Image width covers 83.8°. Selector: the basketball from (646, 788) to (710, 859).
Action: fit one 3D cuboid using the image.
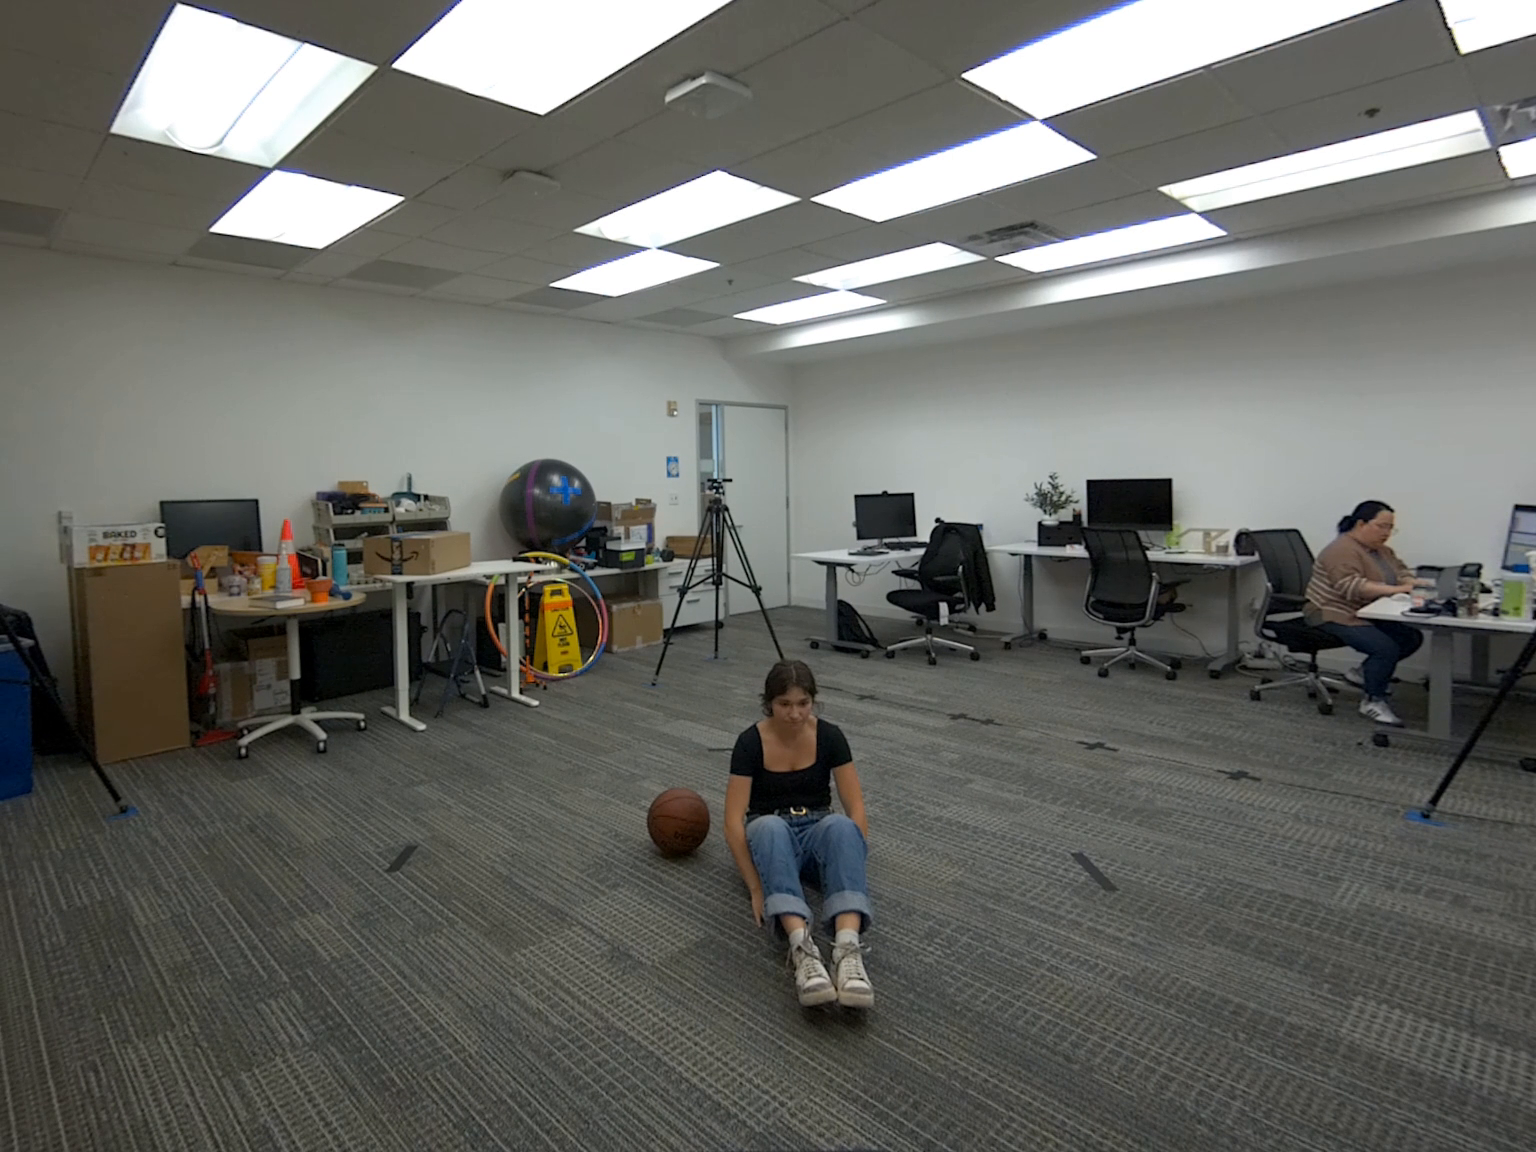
[{"bbox_3d":[-0.332,0.916,3.204,0.236,0.235,0.237,-1,5,-2],"label":"basketball"}]
